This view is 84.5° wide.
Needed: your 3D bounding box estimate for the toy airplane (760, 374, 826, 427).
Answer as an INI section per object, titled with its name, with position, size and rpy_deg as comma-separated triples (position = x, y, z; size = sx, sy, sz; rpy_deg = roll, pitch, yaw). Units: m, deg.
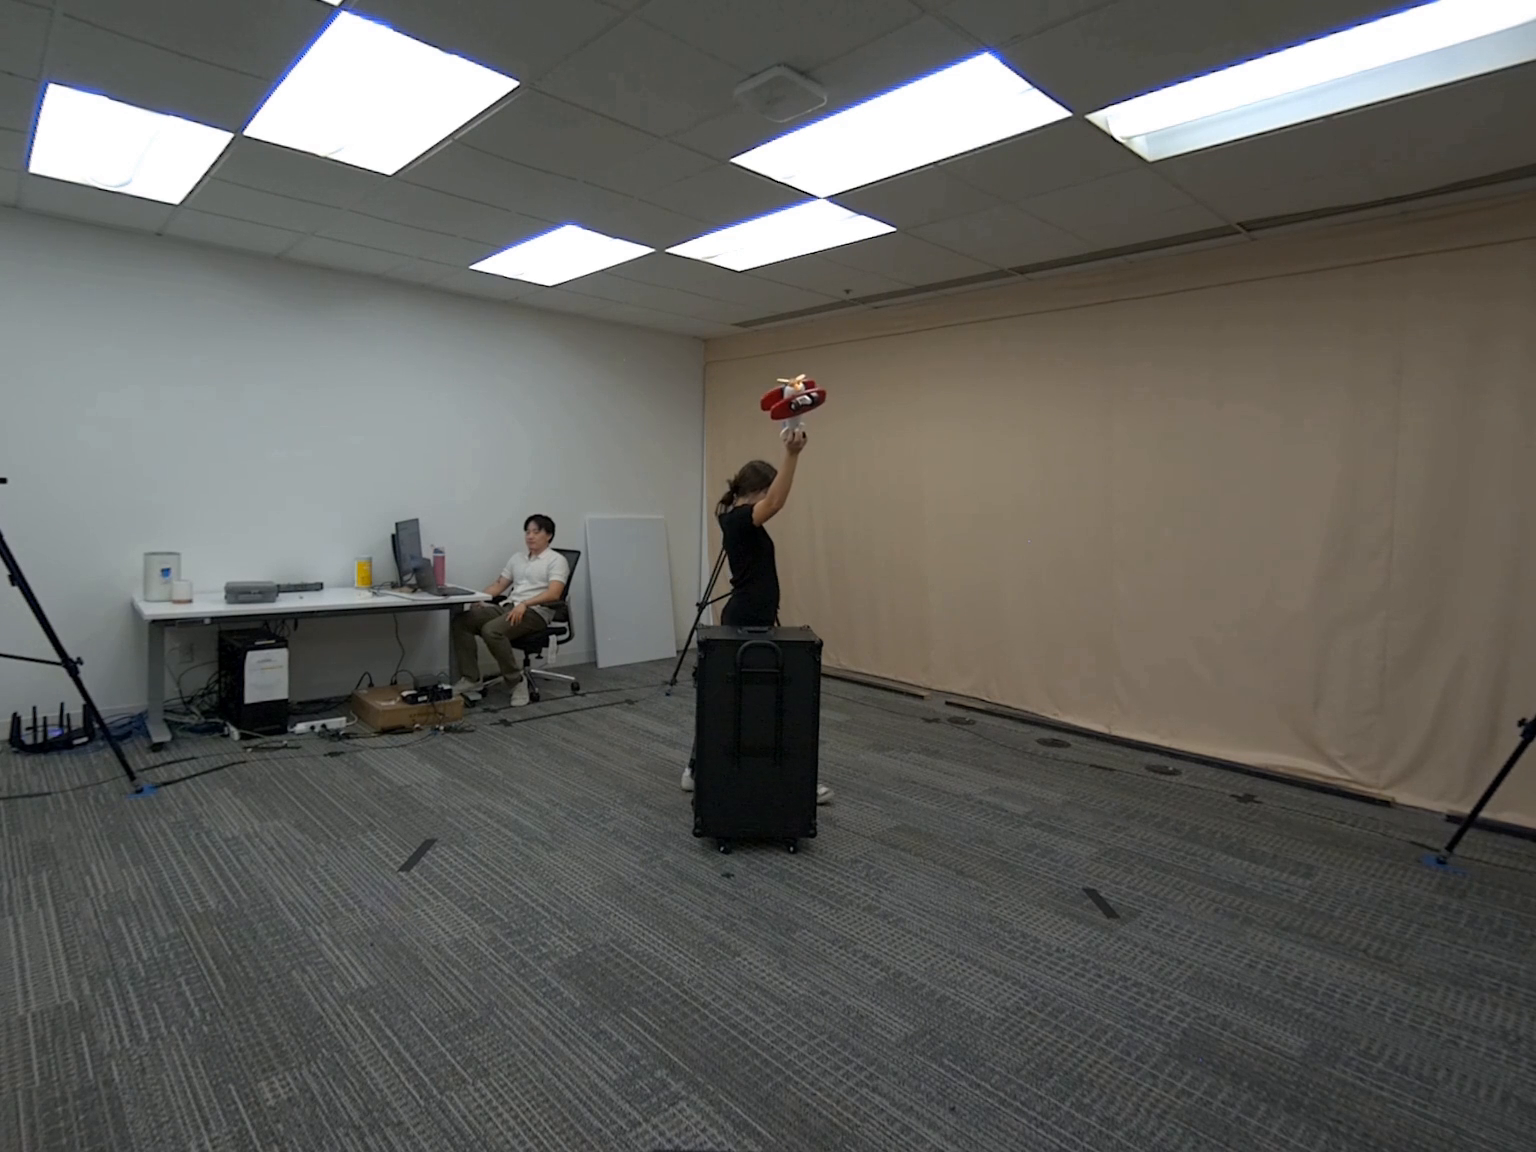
[toy airplane]
position = 0.081, -0.660, 3.348
size = 0.245, 0.160, 0.258
rpy_deg = -3, -38, -44
